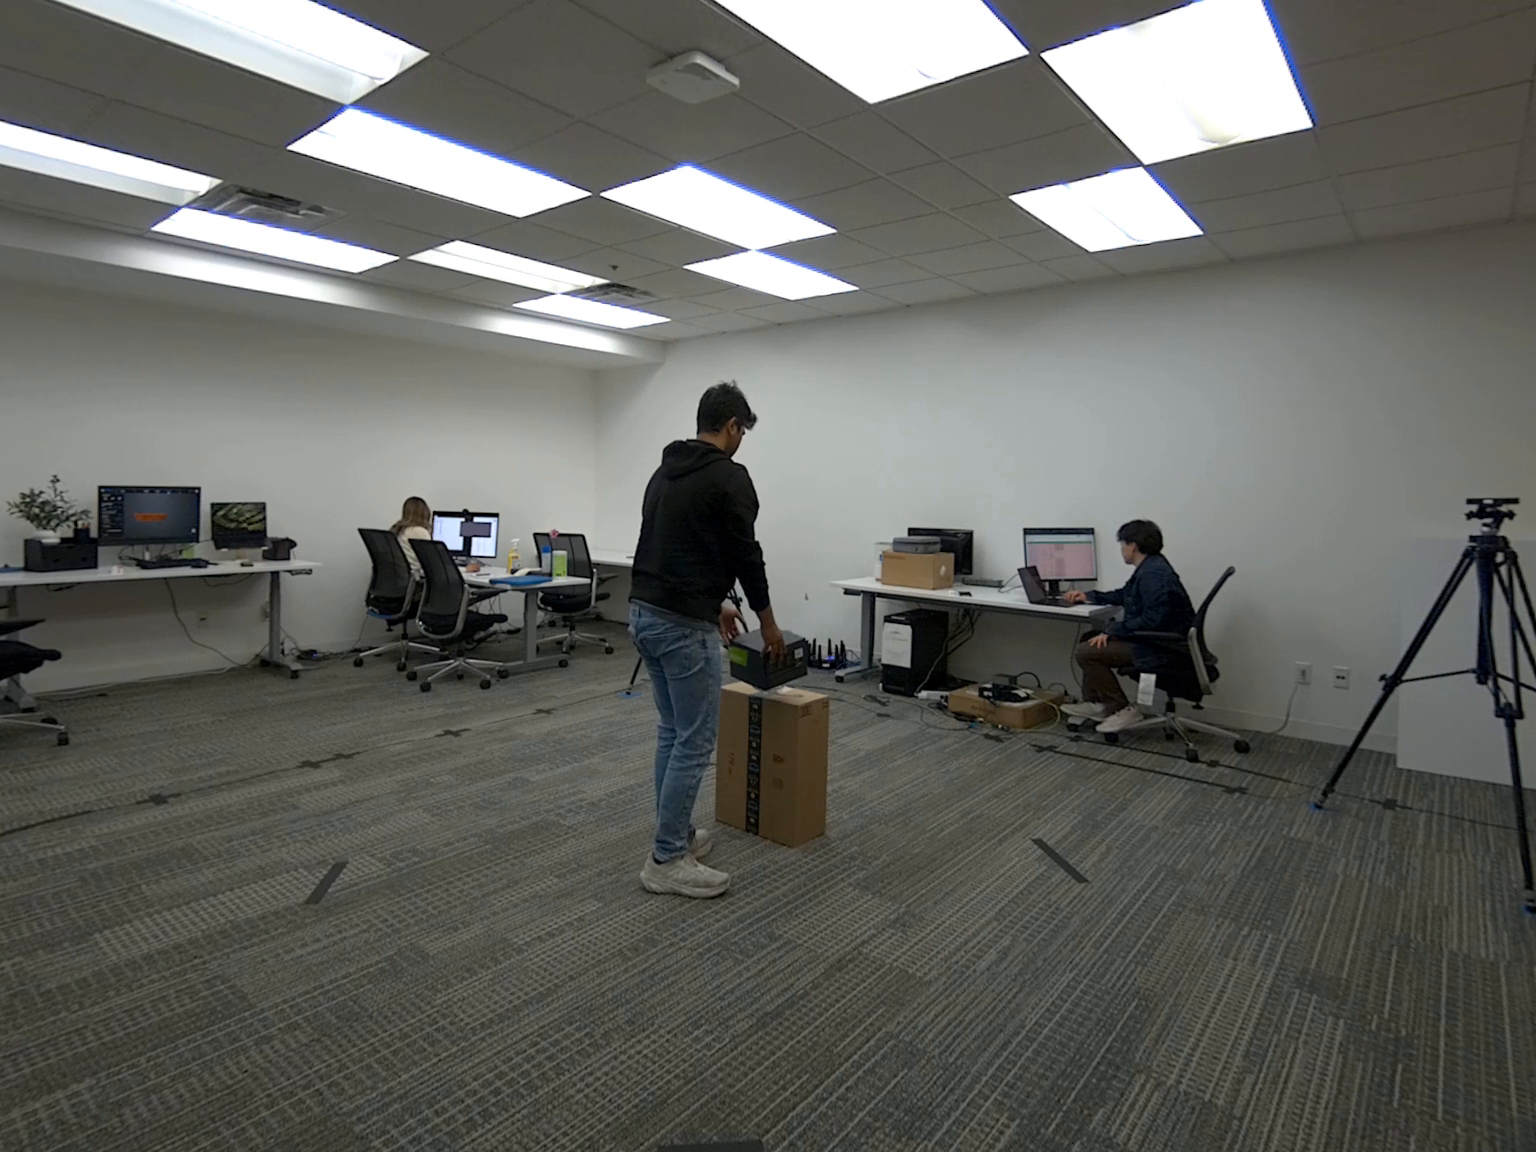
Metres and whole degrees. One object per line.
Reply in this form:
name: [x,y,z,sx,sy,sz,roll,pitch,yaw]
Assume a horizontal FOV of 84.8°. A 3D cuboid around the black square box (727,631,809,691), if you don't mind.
black square box: [-0.016,0.323,3.343,0.212,0.154,0.236,-15,18,-36]
